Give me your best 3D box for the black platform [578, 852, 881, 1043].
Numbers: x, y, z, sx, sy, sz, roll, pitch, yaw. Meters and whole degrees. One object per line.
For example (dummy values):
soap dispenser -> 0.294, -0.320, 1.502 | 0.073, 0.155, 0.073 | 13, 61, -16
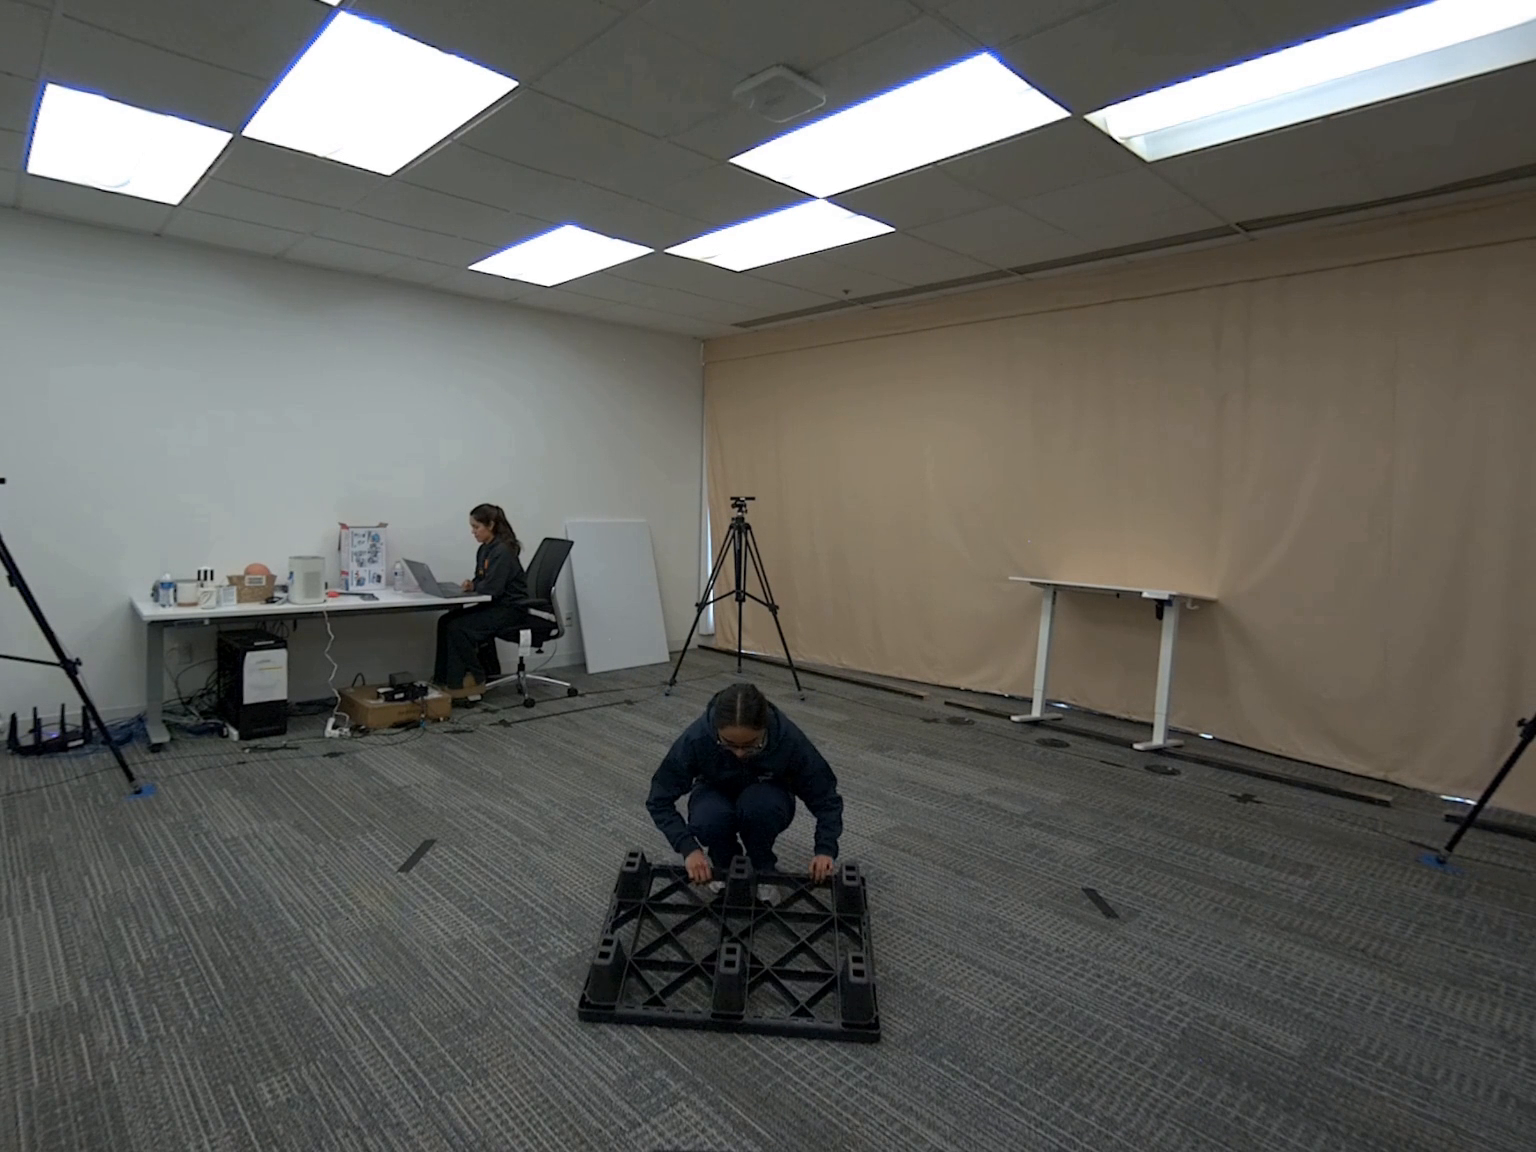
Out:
black platform -> -0.107, 1.034, 2.449 | 0.808, 0.141, 0.611 | 1, 19, 3
